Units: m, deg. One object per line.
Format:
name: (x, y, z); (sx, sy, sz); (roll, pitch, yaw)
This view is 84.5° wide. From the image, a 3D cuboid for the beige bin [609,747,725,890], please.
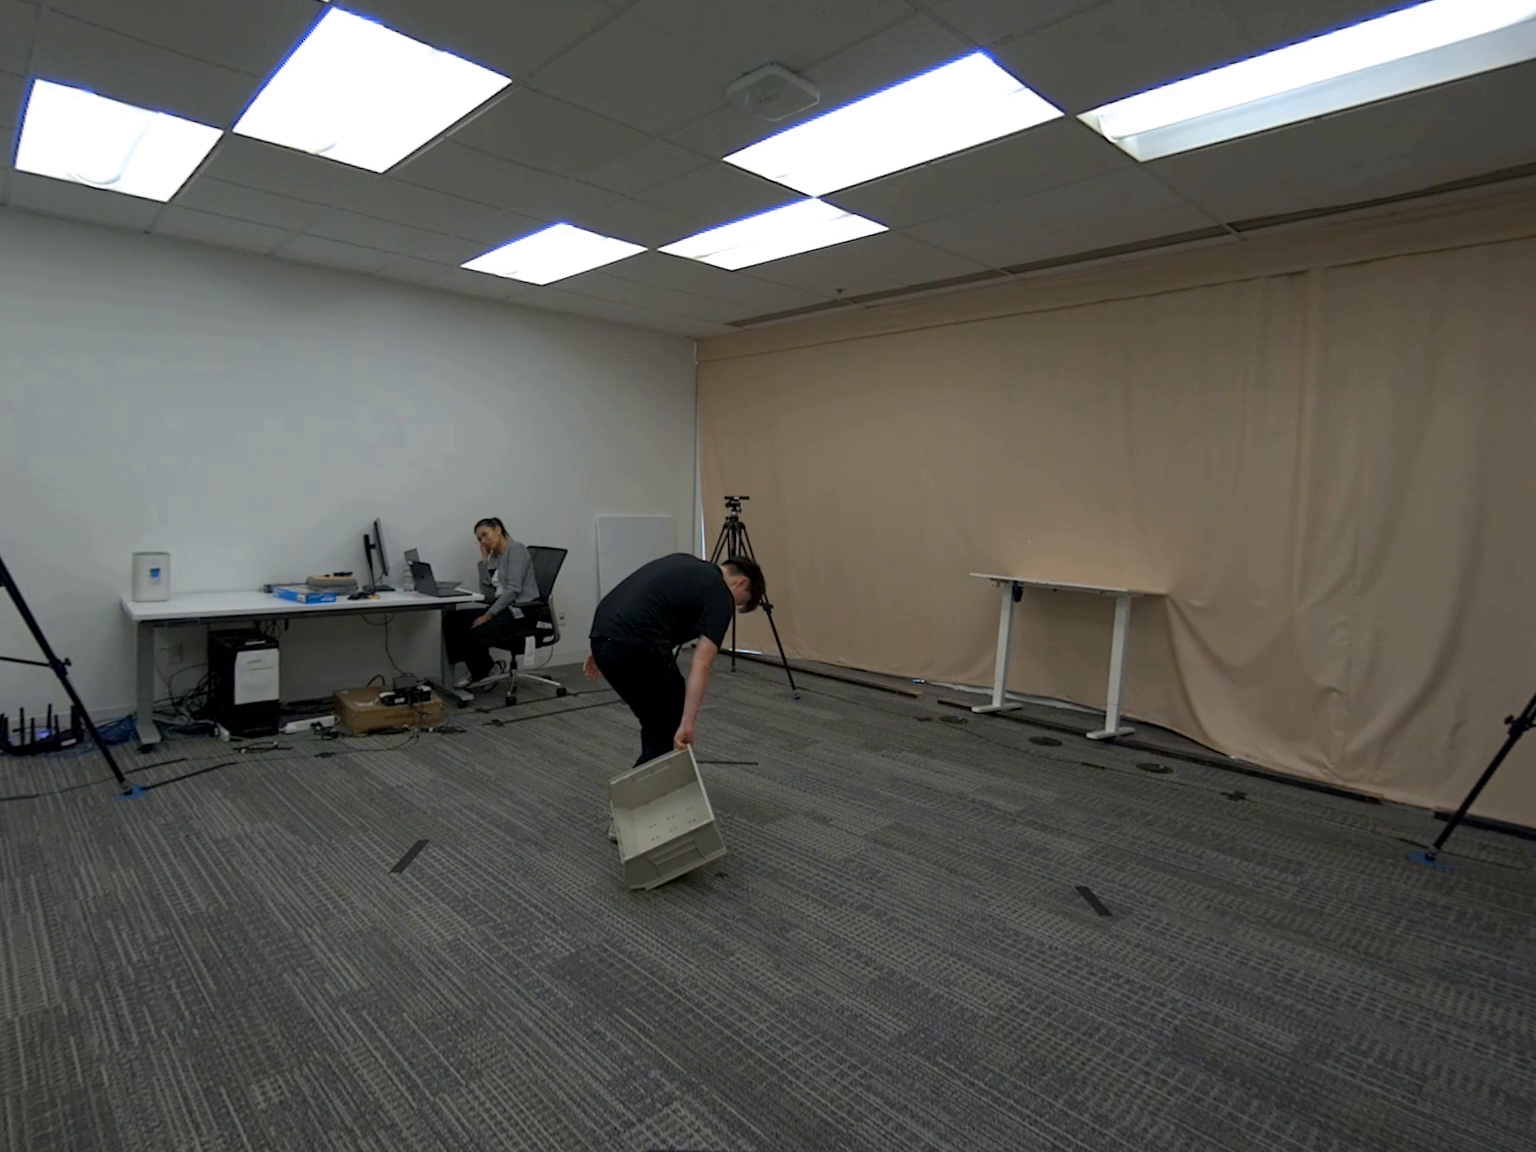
beige bin: (-0.398, 0.898, 3.112); (0.376, 0.184, 0.434); (-24, 30, -5)
